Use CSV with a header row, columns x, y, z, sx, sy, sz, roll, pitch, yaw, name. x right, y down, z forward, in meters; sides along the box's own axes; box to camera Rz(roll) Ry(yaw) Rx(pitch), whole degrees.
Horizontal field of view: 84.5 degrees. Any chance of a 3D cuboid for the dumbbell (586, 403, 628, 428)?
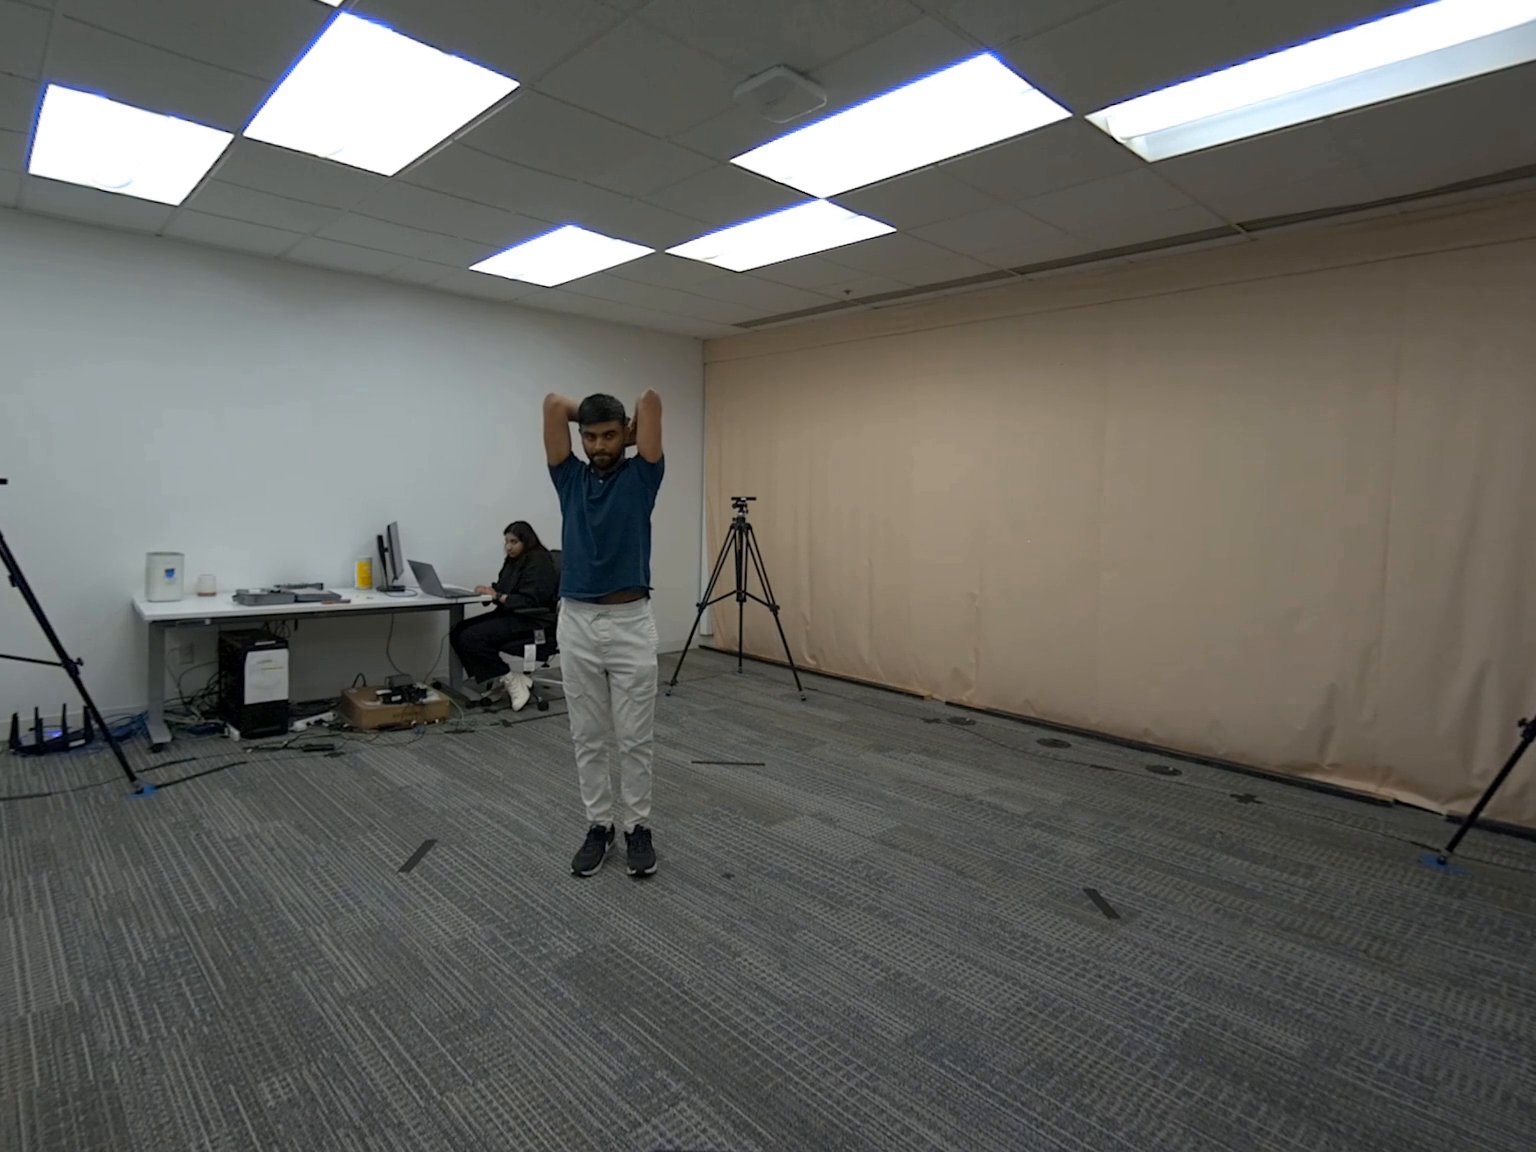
x,y,z,sx,sy,sz,roll,pitch,yaw,name
-0.617,-0.488,3.335,0.109,0.294,0.122,-1,-4,2,dumbbell
